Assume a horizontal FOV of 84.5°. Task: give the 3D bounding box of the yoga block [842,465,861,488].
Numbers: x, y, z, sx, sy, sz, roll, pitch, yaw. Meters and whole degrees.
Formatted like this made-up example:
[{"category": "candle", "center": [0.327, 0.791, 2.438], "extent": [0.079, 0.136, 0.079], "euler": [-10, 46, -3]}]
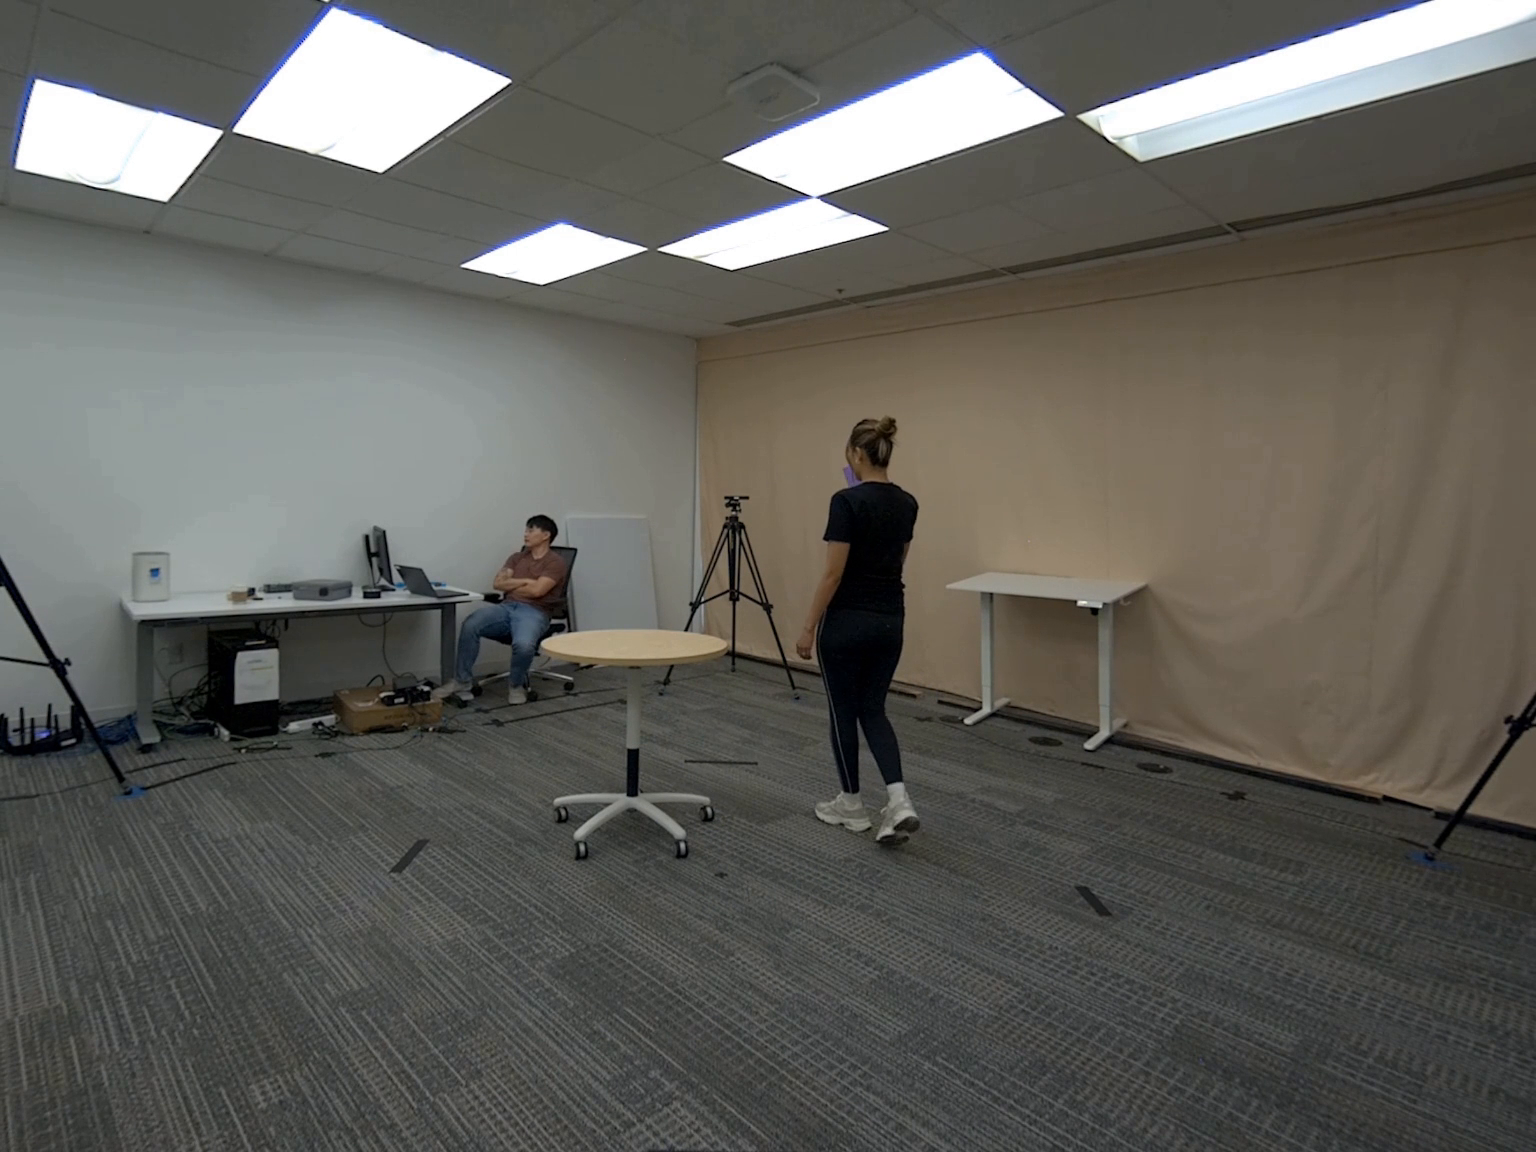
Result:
[{"category": "yoga block", "center": [0.455, -0.433, 3.948], "extent": [0.150, 0.234, 0.074], "euler": [-25, -25, 23]}]
